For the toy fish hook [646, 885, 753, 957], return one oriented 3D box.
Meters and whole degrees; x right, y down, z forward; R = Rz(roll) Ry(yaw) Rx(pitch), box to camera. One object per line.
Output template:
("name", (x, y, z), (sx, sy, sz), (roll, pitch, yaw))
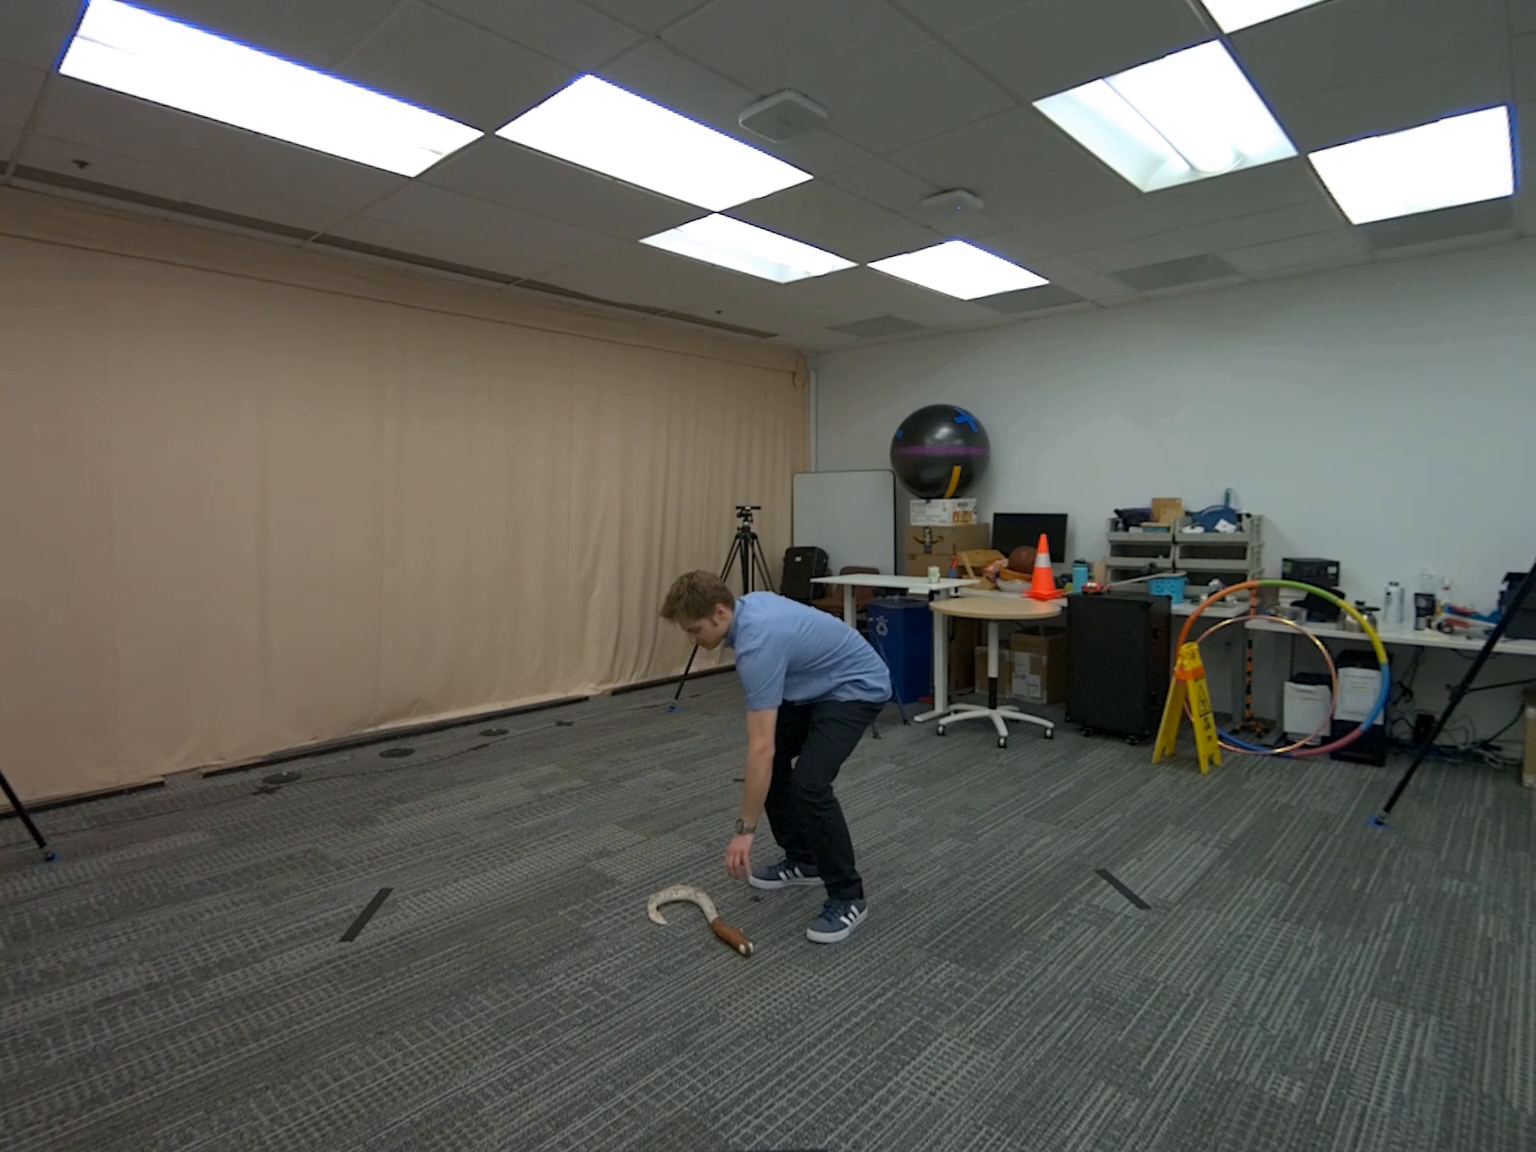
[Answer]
("toy fish hook", (-0.234, 1.150, 2.779), (0.219, 0.048, 0.521), (-13, 9, -31))
